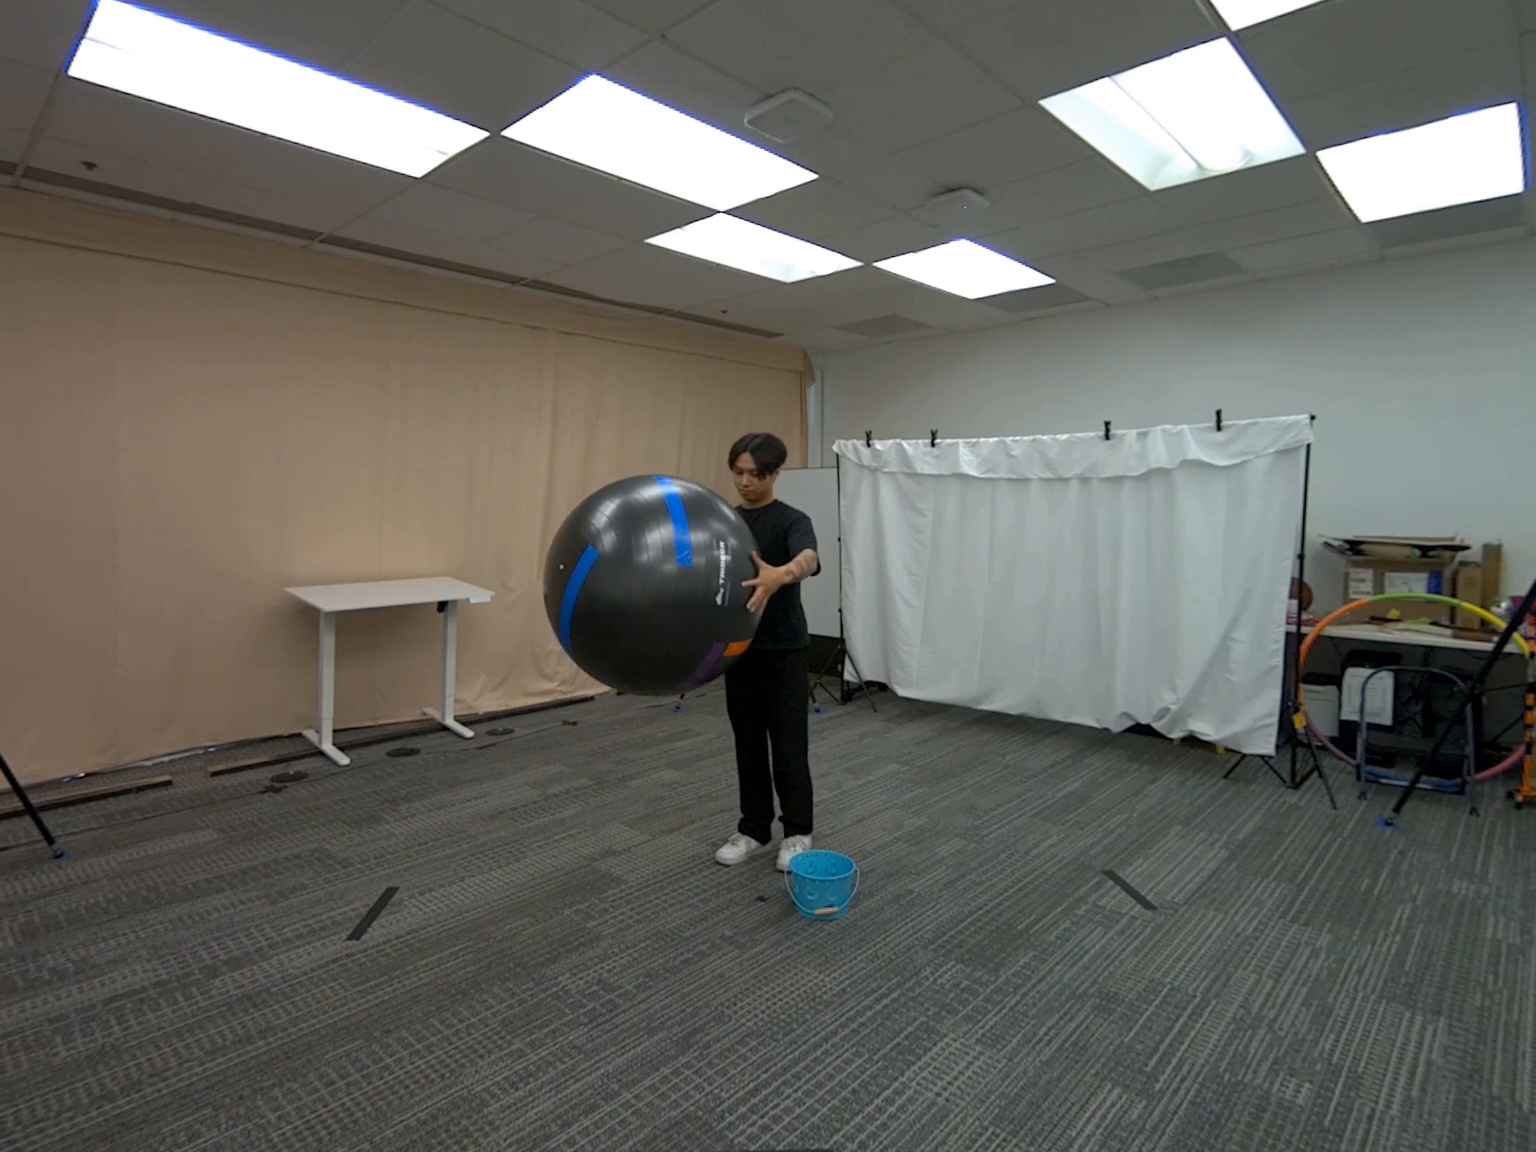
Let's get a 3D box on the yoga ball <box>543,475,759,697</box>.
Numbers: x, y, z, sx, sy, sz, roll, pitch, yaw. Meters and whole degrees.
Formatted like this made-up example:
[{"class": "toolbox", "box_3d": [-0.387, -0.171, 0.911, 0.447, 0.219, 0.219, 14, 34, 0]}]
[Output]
[{"class": "yoga ball", "box_3d": [-0.391, 0.039, 2.897, 0.757, 0.756, 0.761, 0, 4, -2]}]
